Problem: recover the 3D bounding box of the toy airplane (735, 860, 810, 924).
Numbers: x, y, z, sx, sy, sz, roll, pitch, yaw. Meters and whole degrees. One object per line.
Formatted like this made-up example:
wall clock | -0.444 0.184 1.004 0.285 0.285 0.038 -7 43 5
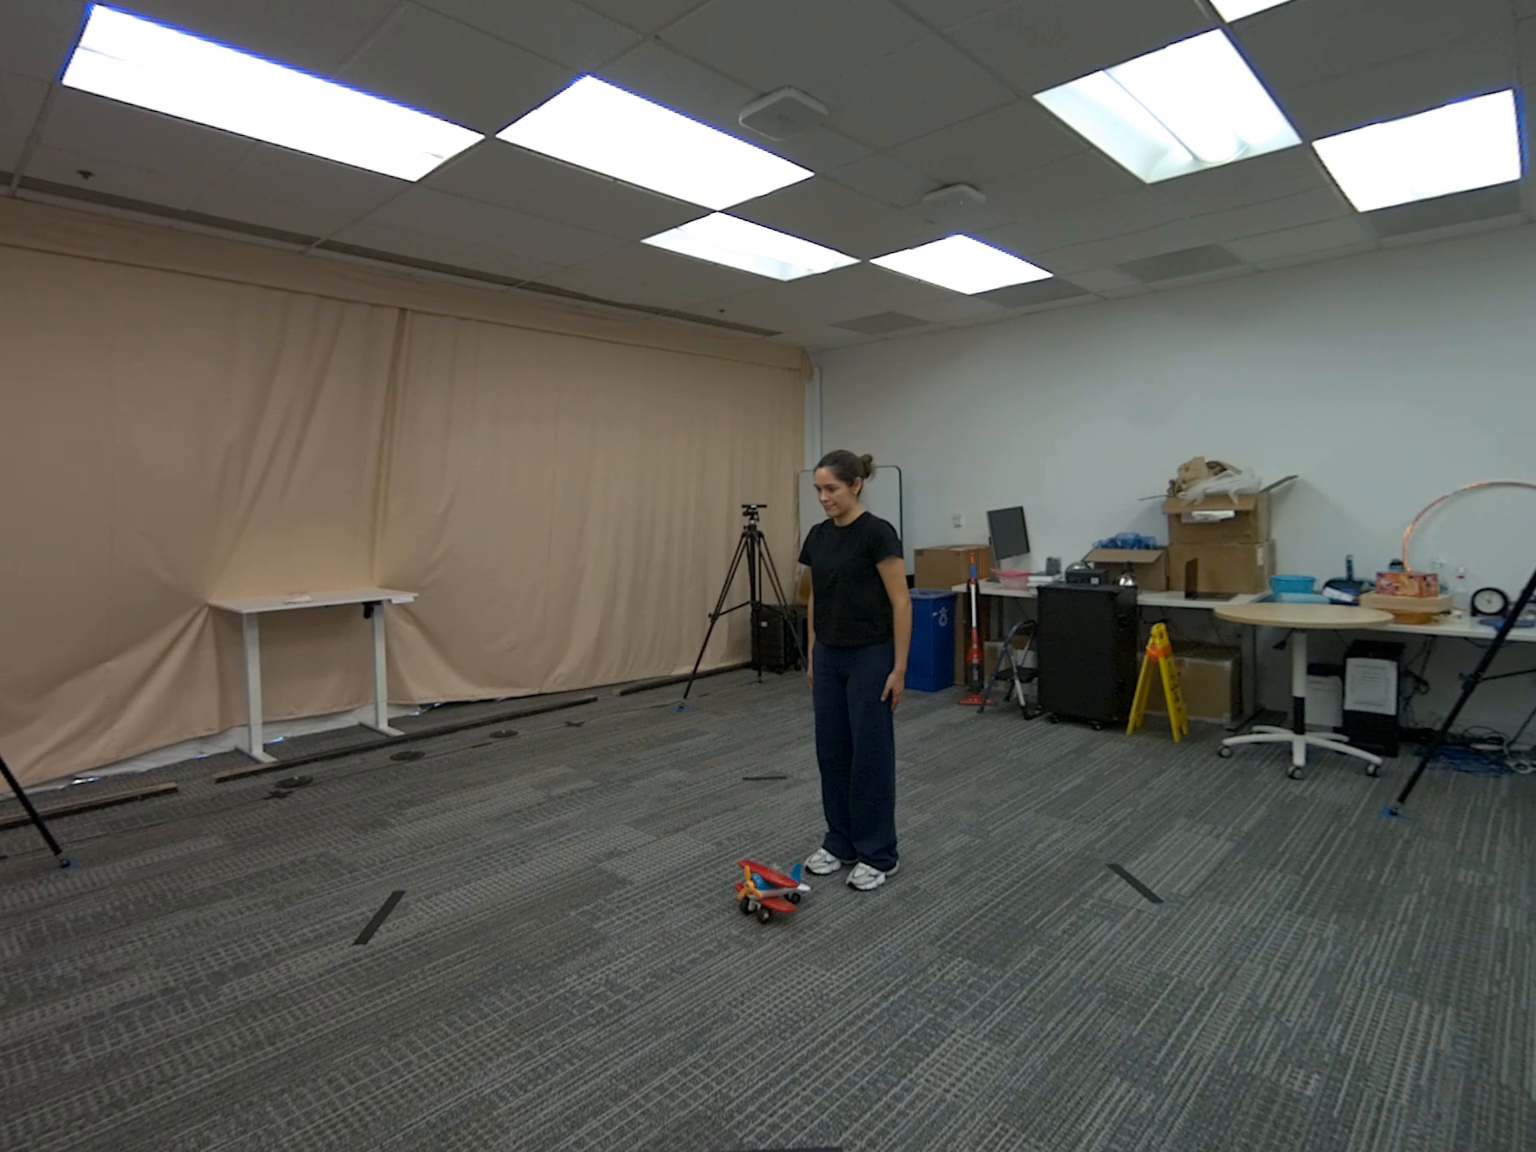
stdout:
toy airplane | 0.021 1.069 2.902 0.256 0.156 0.255 1 6 19
